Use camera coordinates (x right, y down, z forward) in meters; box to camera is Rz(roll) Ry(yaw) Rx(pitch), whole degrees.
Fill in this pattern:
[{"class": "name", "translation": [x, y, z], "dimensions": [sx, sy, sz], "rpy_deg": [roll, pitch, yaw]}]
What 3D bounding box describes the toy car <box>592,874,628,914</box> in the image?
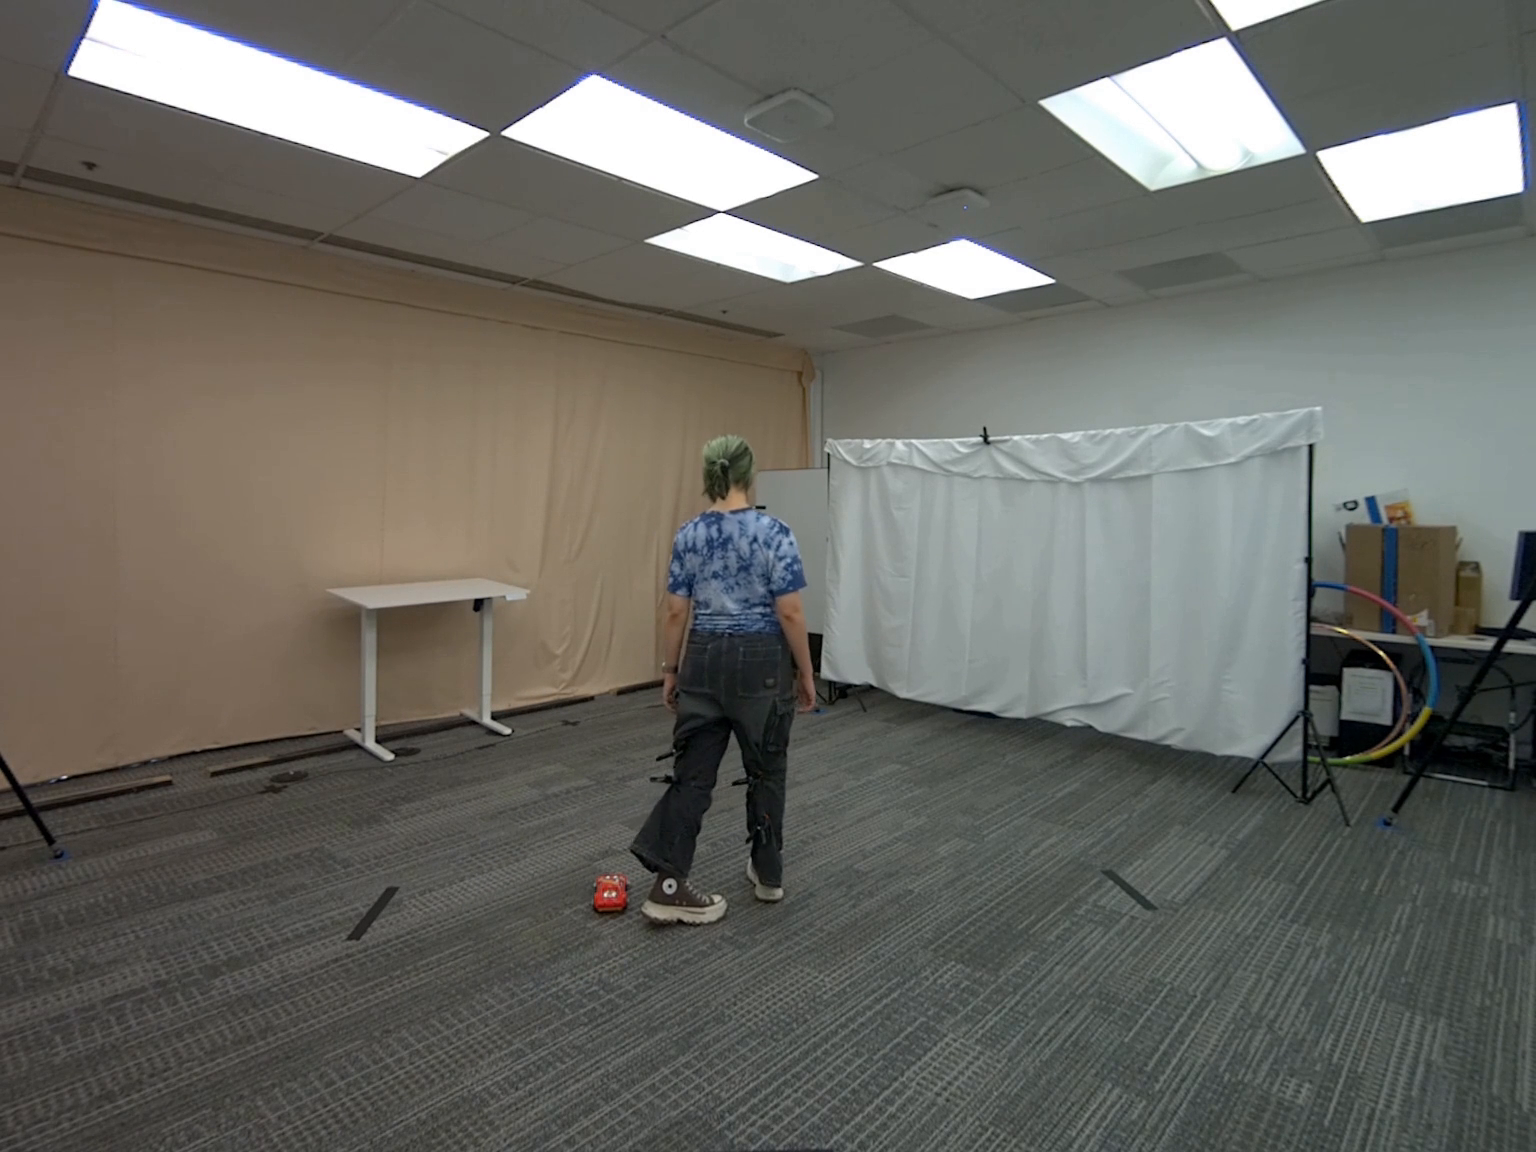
[{"class": "toy car", "translation": [-0.554, 1.124, 2.964], "dimensions": [0.129, 0.083, 0.255], "rpy_deg": [0, -6, -6]}]
